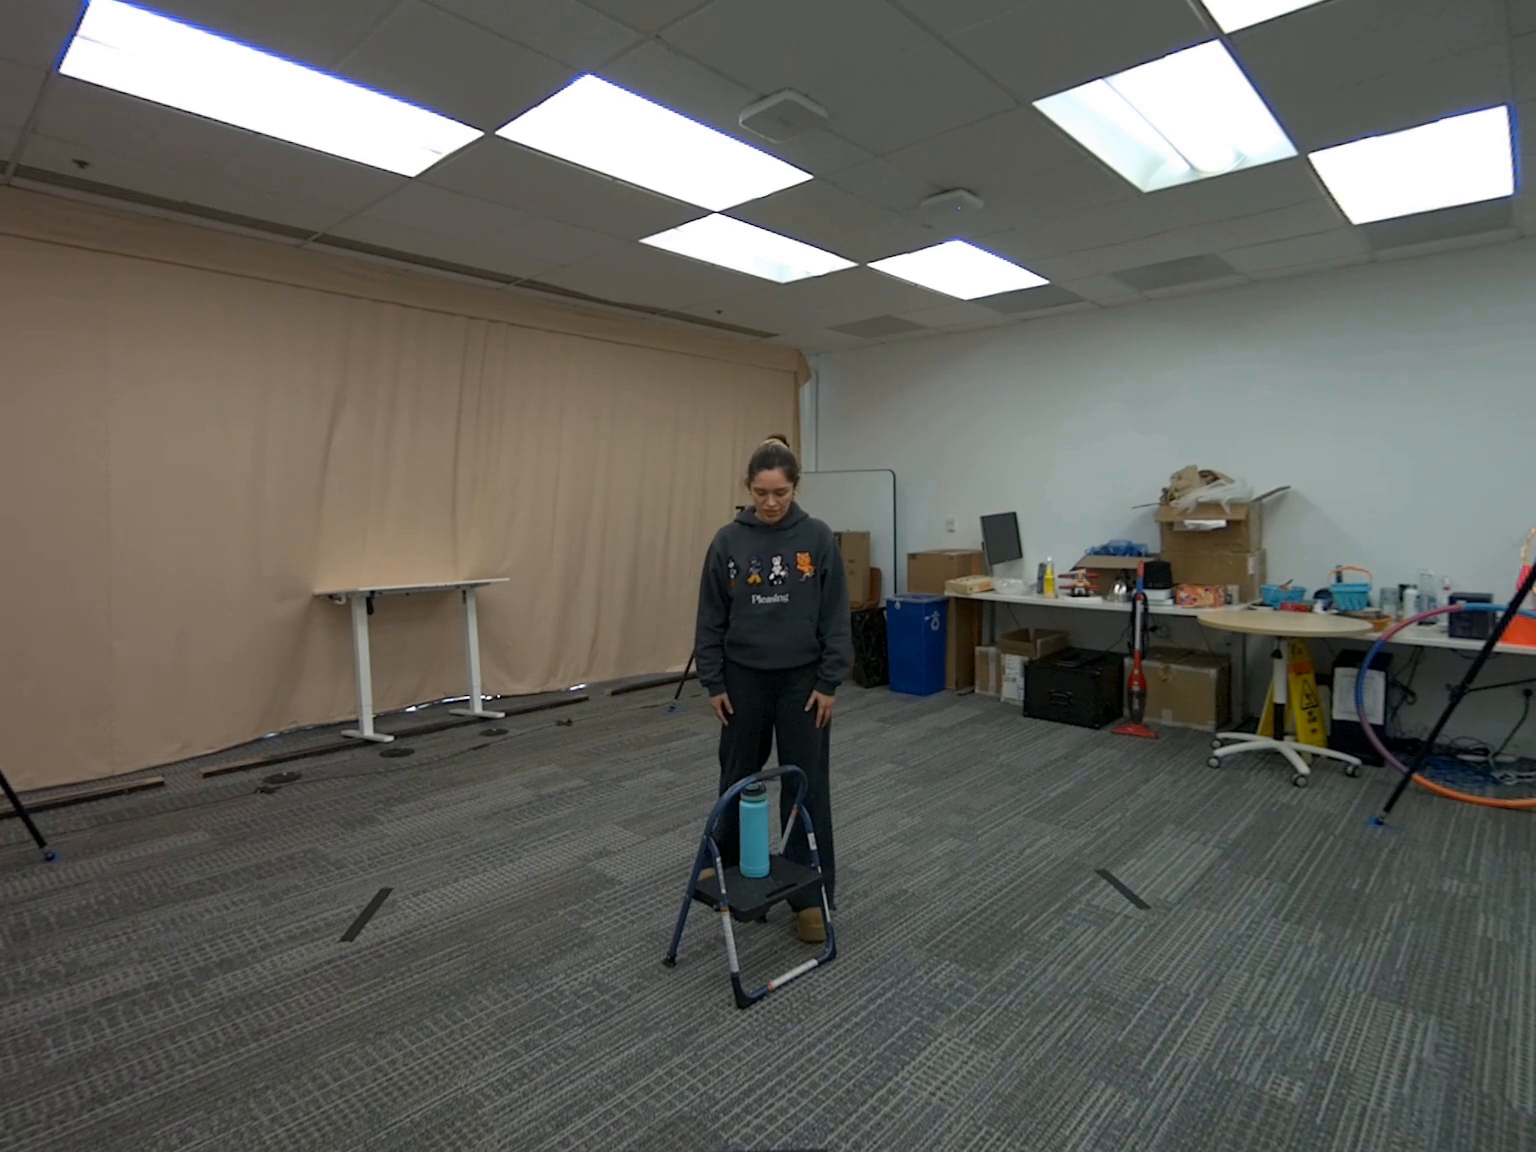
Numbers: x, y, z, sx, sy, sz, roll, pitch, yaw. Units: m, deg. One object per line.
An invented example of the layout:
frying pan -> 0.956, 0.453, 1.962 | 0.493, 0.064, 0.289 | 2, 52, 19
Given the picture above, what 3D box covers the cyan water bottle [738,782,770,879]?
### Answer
cyan water bottle -> -0.028, 0.770, 2.605 | 0.092, 0.283, 0.092 | -4, 2, -2
